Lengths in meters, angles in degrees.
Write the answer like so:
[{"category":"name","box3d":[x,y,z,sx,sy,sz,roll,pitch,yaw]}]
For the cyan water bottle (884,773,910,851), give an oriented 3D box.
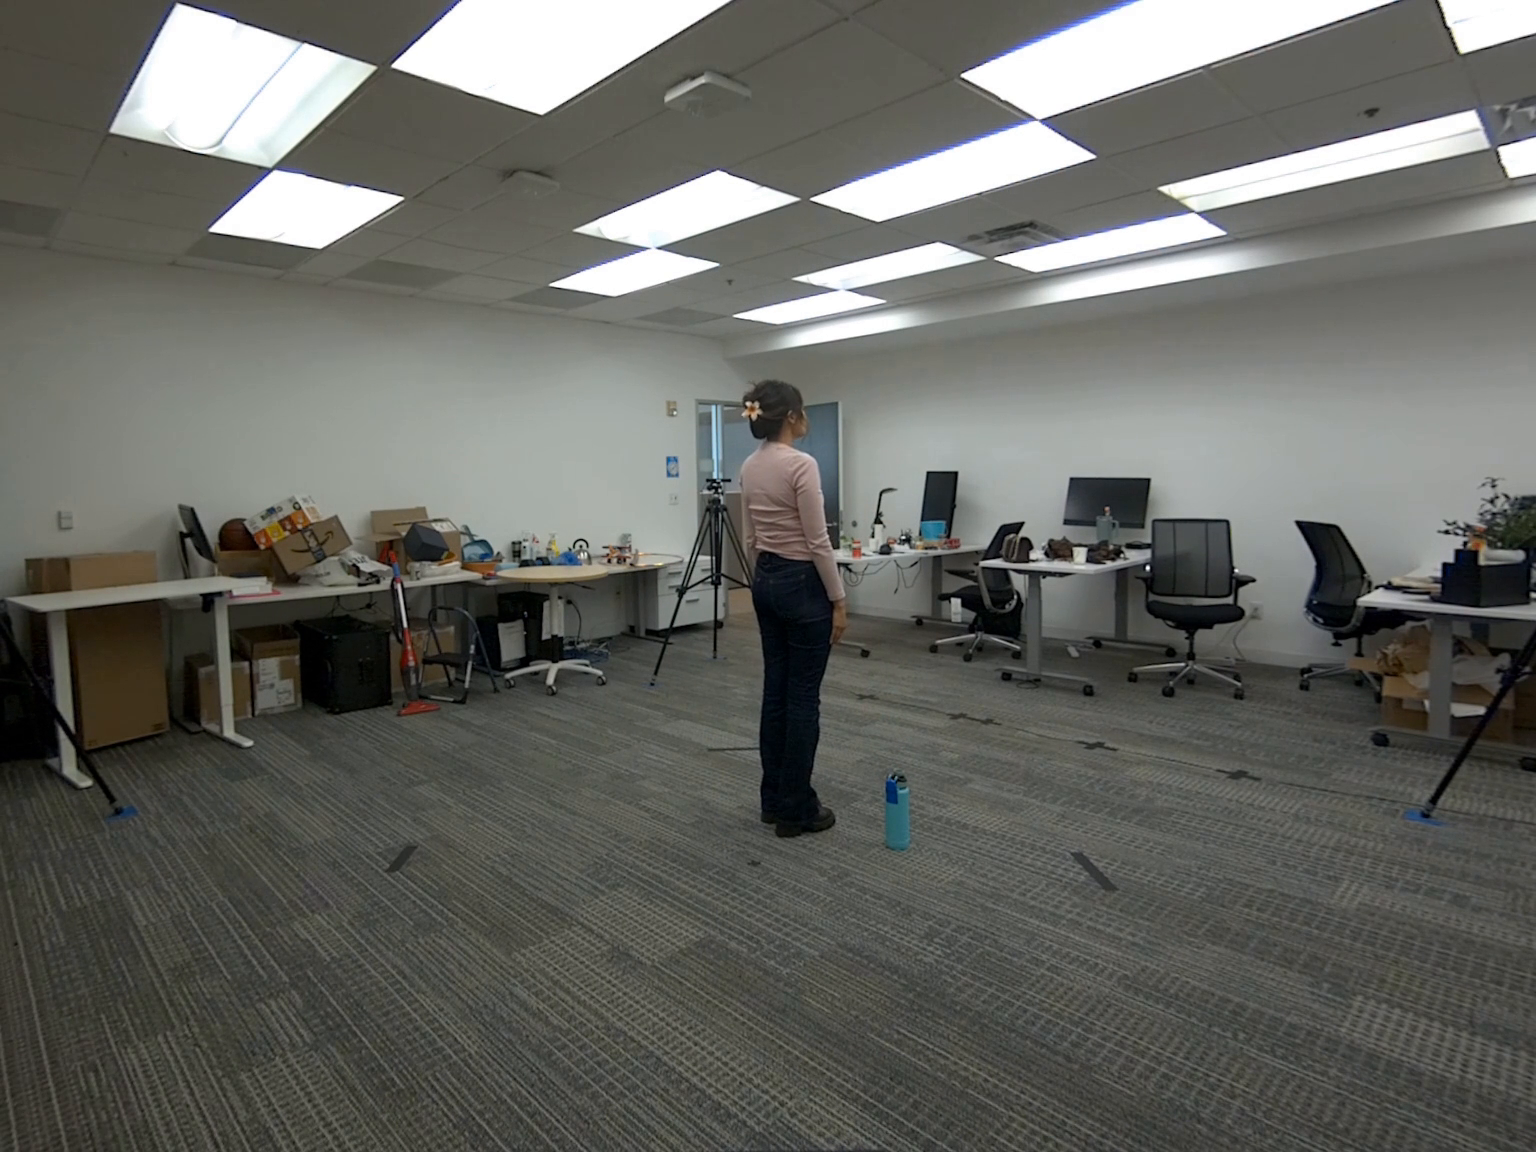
[{"category":"cyan water bottle","box3d":[0.491,0.883,3.229,0.092,0.282,0.093,-1,4,-2]}]
